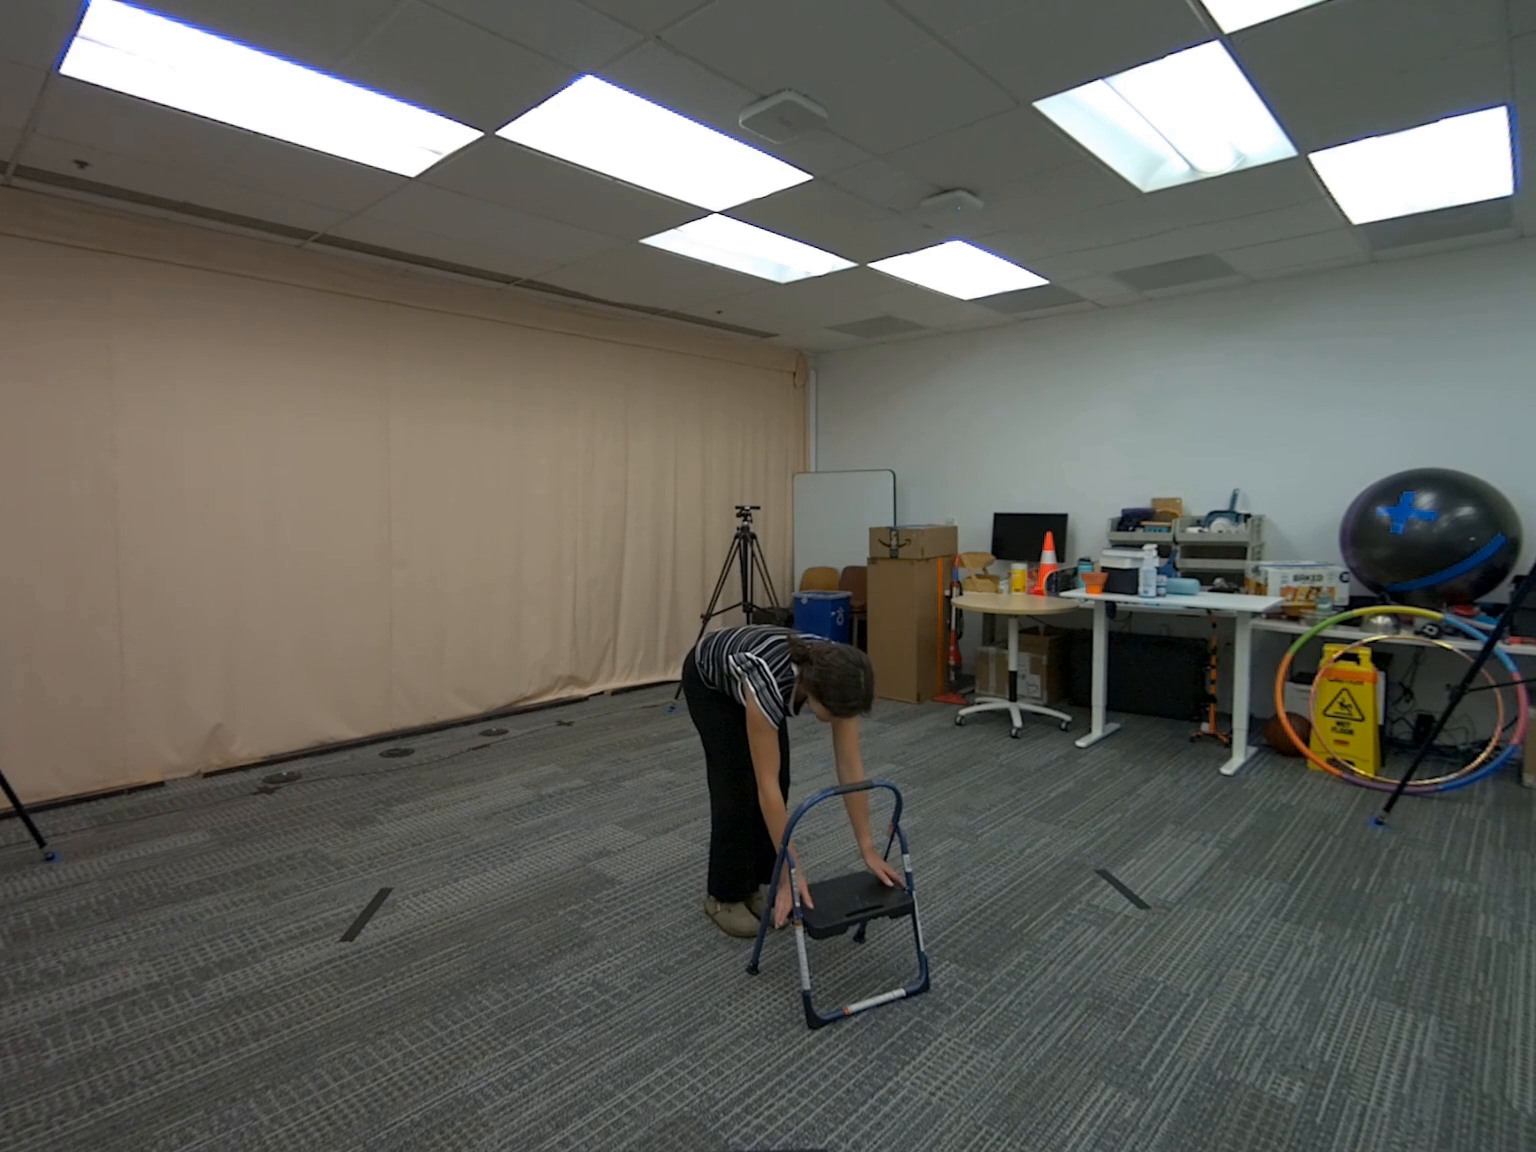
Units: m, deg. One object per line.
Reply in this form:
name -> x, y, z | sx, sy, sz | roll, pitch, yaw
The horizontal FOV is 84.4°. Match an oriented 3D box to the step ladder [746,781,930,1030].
step ladder -> 0.210, 0.887, 2.456 | 0.419, 0.605, 0.359 | -2, 4, -29
